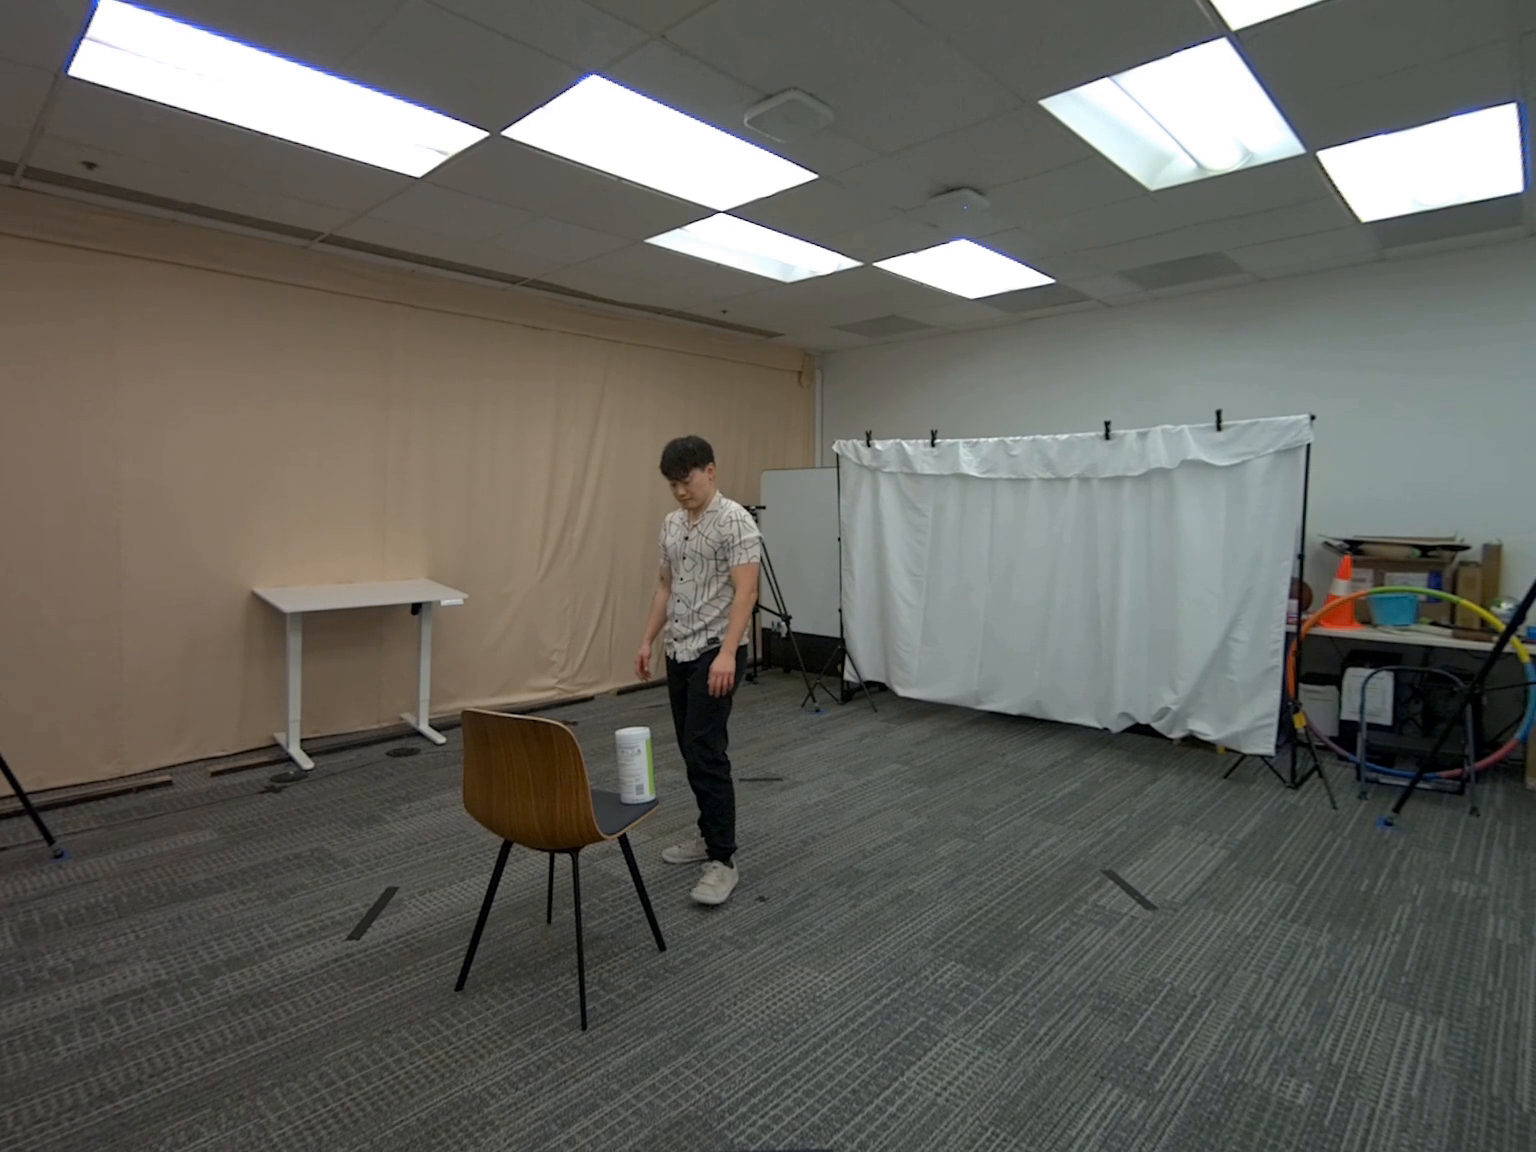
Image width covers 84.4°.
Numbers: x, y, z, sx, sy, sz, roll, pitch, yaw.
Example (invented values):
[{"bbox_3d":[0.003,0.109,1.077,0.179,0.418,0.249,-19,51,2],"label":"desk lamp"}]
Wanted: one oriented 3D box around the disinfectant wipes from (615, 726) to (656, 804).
[{"bbox_3d":[-0.412,0.580,2.592,0.117,0.218,0.118,-4,-2,-2],"label":"disinfectant wipes"}]
